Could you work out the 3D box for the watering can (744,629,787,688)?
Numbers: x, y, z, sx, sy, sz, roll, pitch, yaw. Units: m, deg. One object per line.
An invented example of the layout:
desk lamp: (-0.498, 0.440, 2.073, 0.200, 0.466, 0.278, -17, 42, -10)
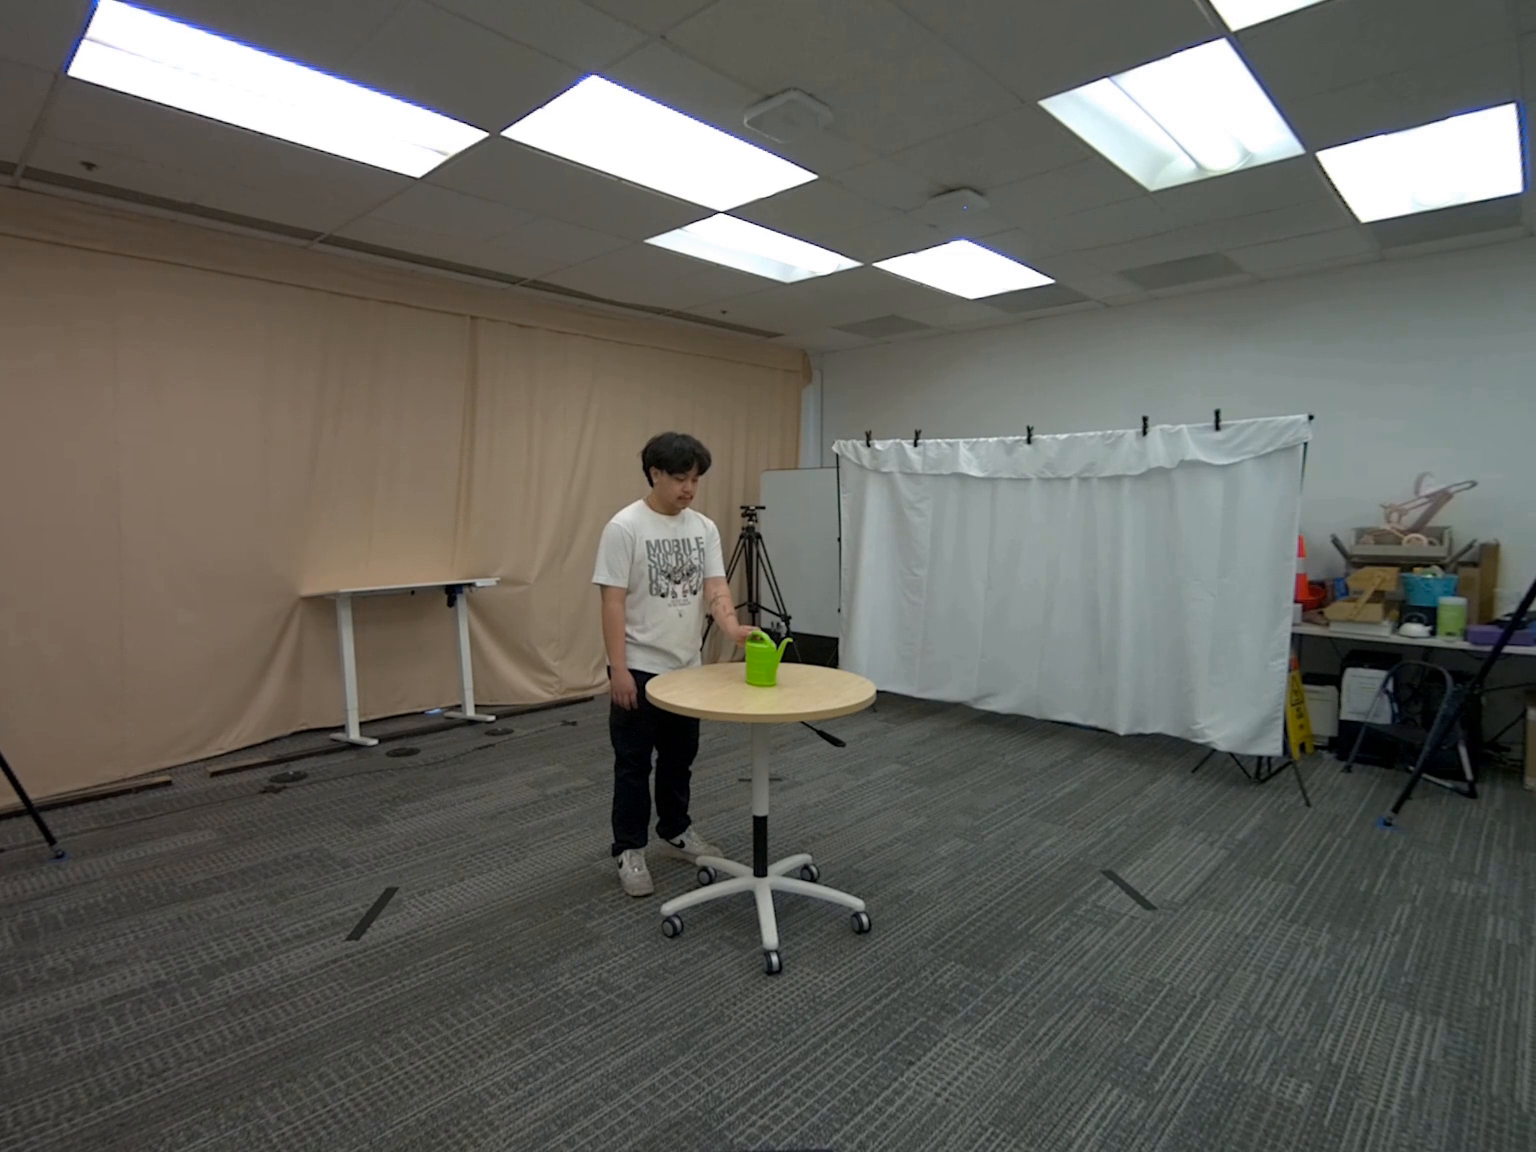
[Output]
watering can: (-0.007, 0.281, 2.795, 0.096, 0.176, 0.283, -4, 4, -18)
